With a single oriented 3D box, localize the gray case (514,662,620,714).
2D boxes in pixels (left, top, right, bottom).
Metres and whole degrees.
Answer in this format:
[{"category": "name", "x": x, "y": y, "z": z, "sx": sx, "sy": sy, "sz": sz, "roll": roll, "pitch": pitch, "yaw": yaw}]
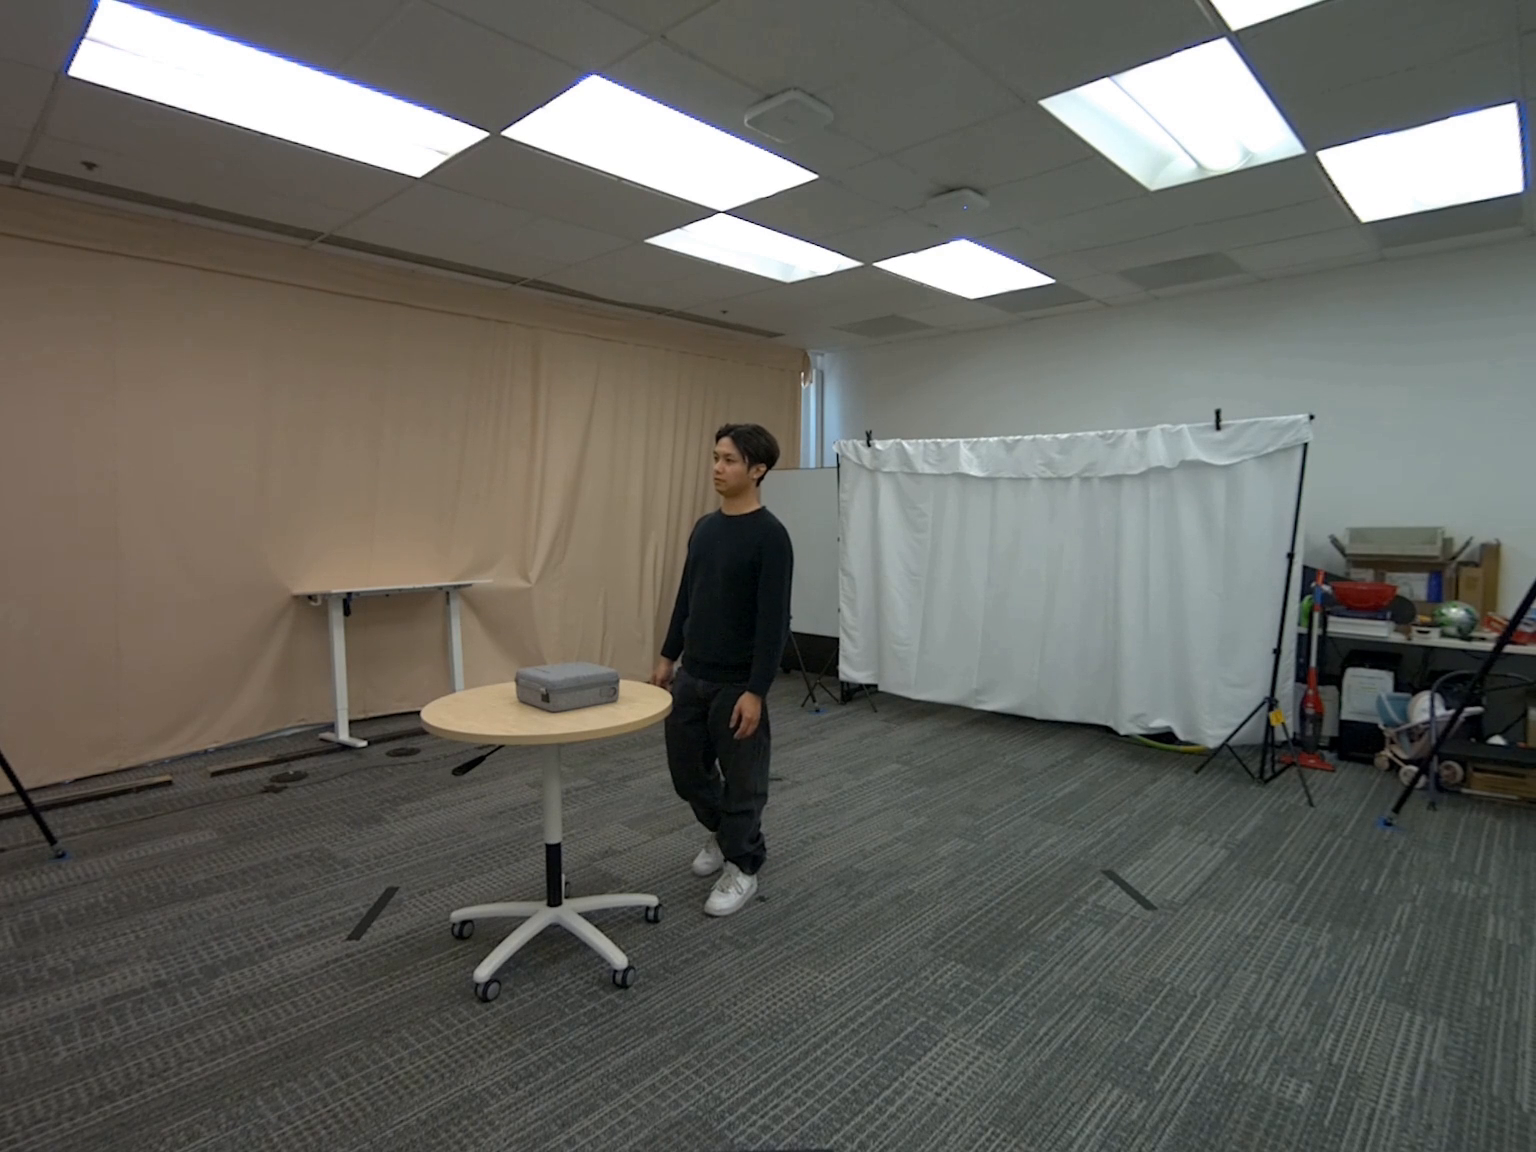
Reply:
[{"category": "gray case", "x": -0.634, "y": 0.343, "z": 2.638, "sx": 0.253, "sy": 0.104, "sz": 0.265, "roll": -4, "pitch": 4, "yaw": -42}]
